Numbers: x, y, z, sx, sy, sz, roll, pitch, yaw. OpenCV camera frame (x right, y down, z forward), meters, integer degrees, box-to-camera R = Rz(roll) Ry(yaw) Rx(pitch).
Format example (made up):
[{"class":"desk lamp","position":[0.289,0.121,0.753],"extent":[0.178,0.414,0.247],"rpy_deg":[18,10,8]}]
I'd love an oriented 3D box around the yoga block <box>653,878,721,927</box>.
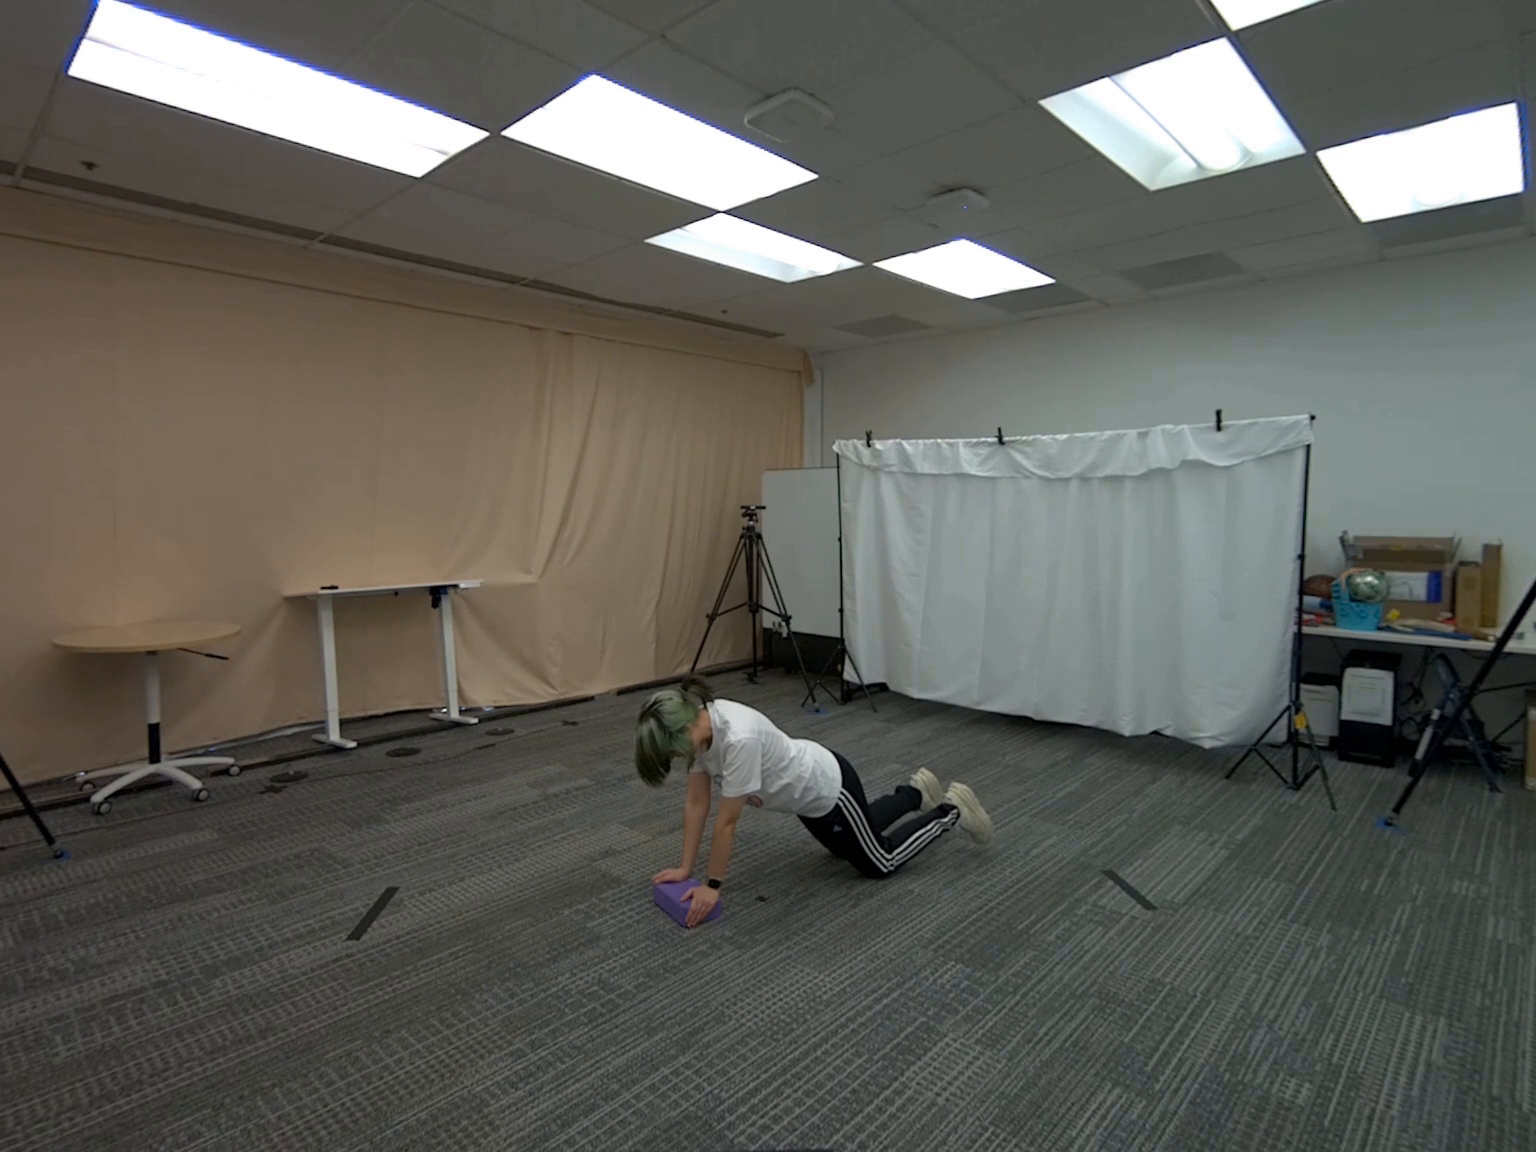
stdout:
[{"class":"yoga block","position":[-0.277,1.115,2.903],"extent":[0.145,0.076,0.237],"rpy_deg":[-4,7,-35]}]
